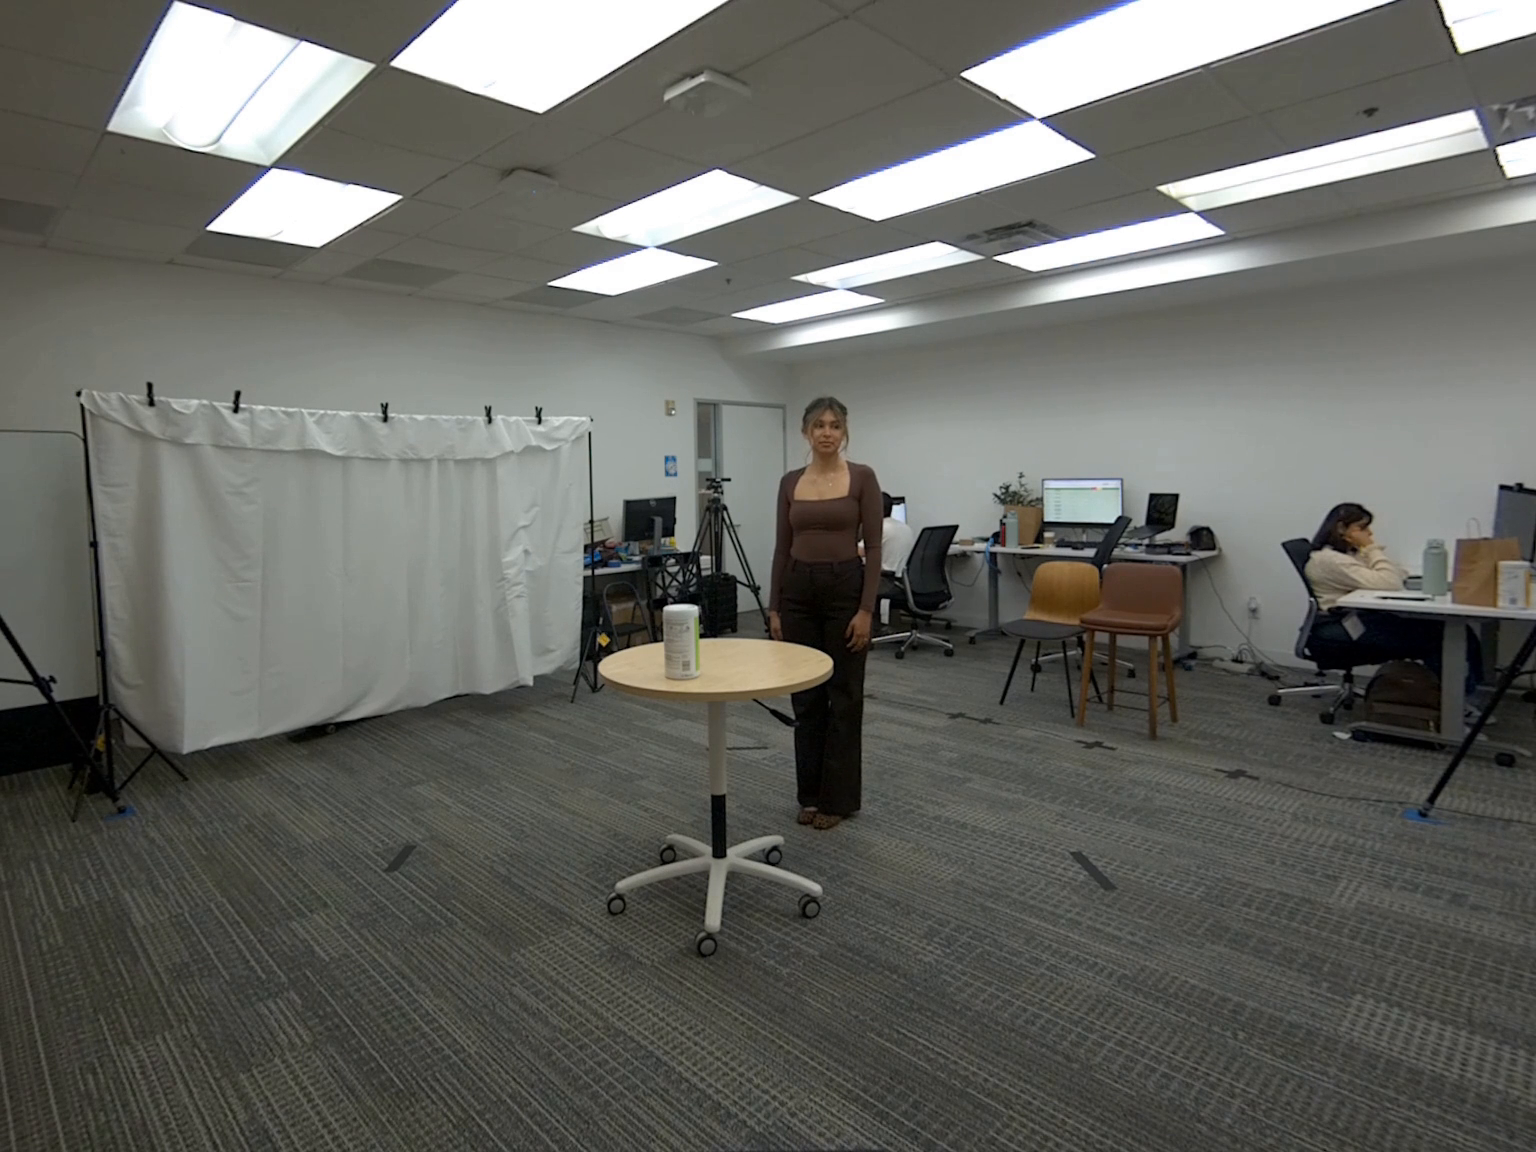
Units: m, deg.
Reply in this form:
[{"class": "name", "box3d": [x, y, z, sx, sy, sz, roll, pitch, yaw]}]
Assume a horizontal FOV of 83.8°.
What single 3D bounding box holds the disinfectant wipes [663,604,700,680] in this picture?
[{"class": "disinfectant wipes", "box3d": [-0.262, 0.200, 2.607, 0.118, 0.217, 0.118, -2, 4, -1]}]
